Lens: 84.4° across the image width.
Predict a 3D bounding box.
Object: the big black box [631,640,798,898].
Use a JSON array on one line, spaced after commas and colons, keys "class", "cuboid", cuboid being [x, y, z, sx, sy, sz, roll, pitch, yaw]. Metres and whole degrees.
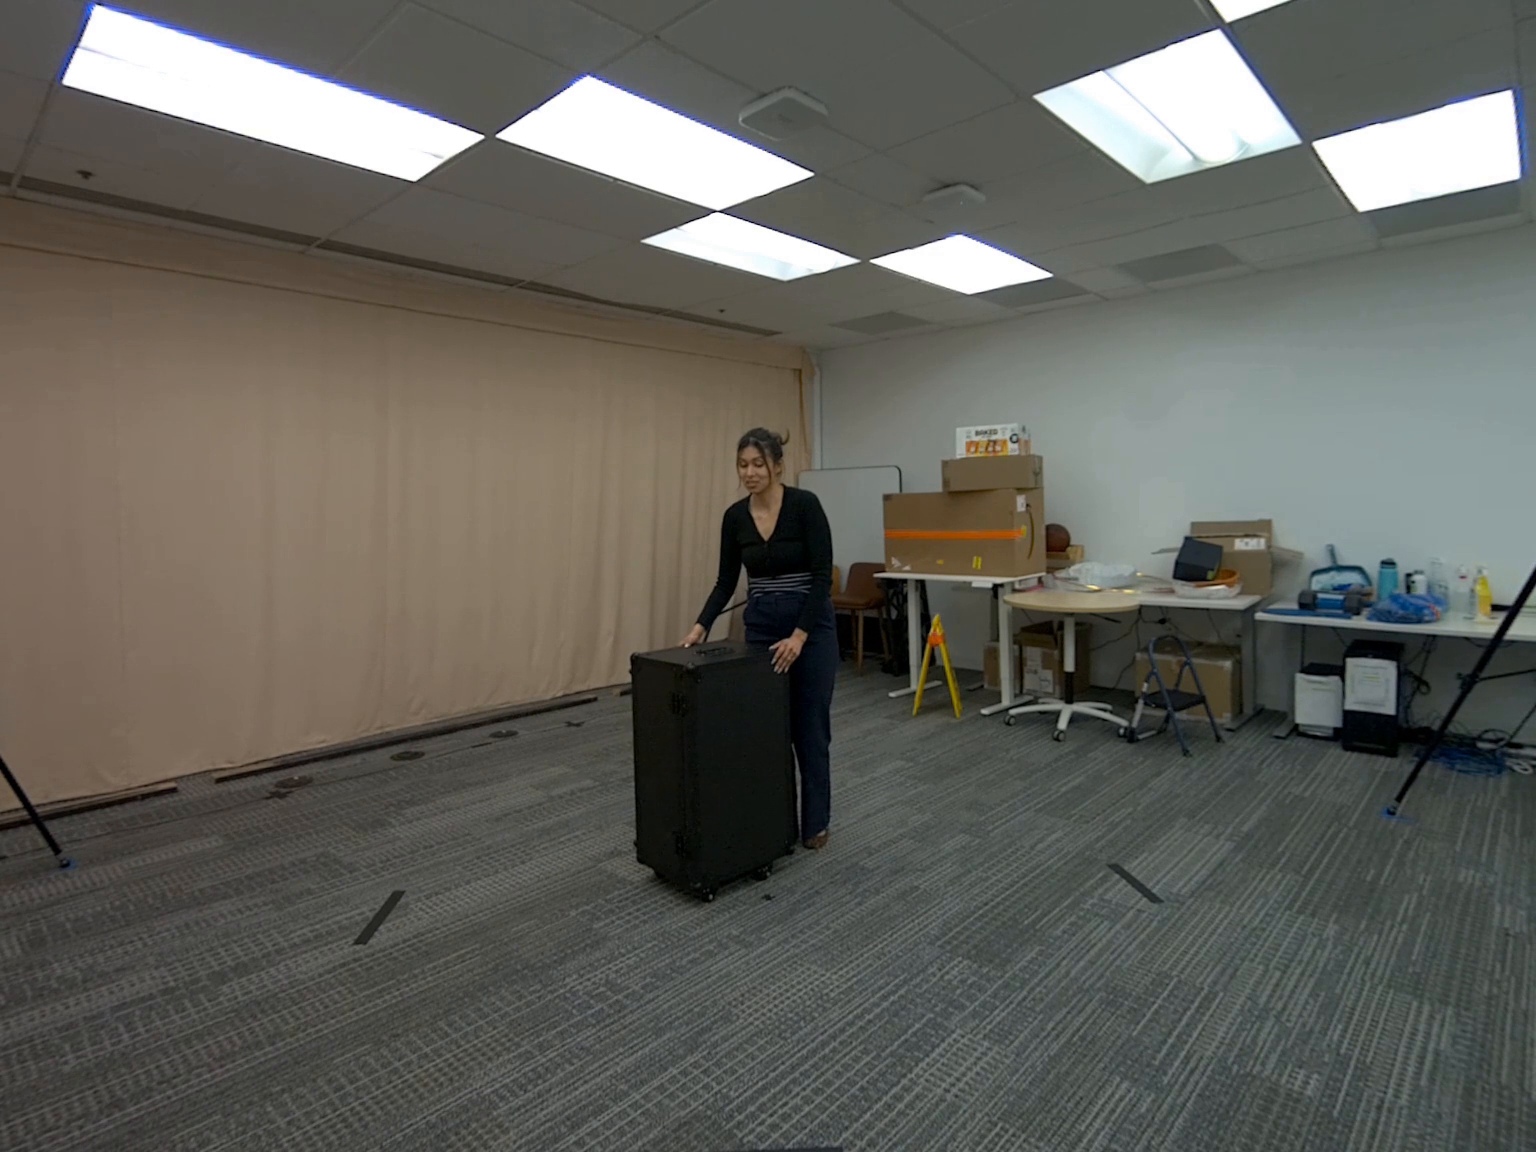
[{"class": "big black box", "cuboid": [-0.215, 0.651, 3.129, 0.505, 0.860, 0.409, -5, 4, -43]}]
